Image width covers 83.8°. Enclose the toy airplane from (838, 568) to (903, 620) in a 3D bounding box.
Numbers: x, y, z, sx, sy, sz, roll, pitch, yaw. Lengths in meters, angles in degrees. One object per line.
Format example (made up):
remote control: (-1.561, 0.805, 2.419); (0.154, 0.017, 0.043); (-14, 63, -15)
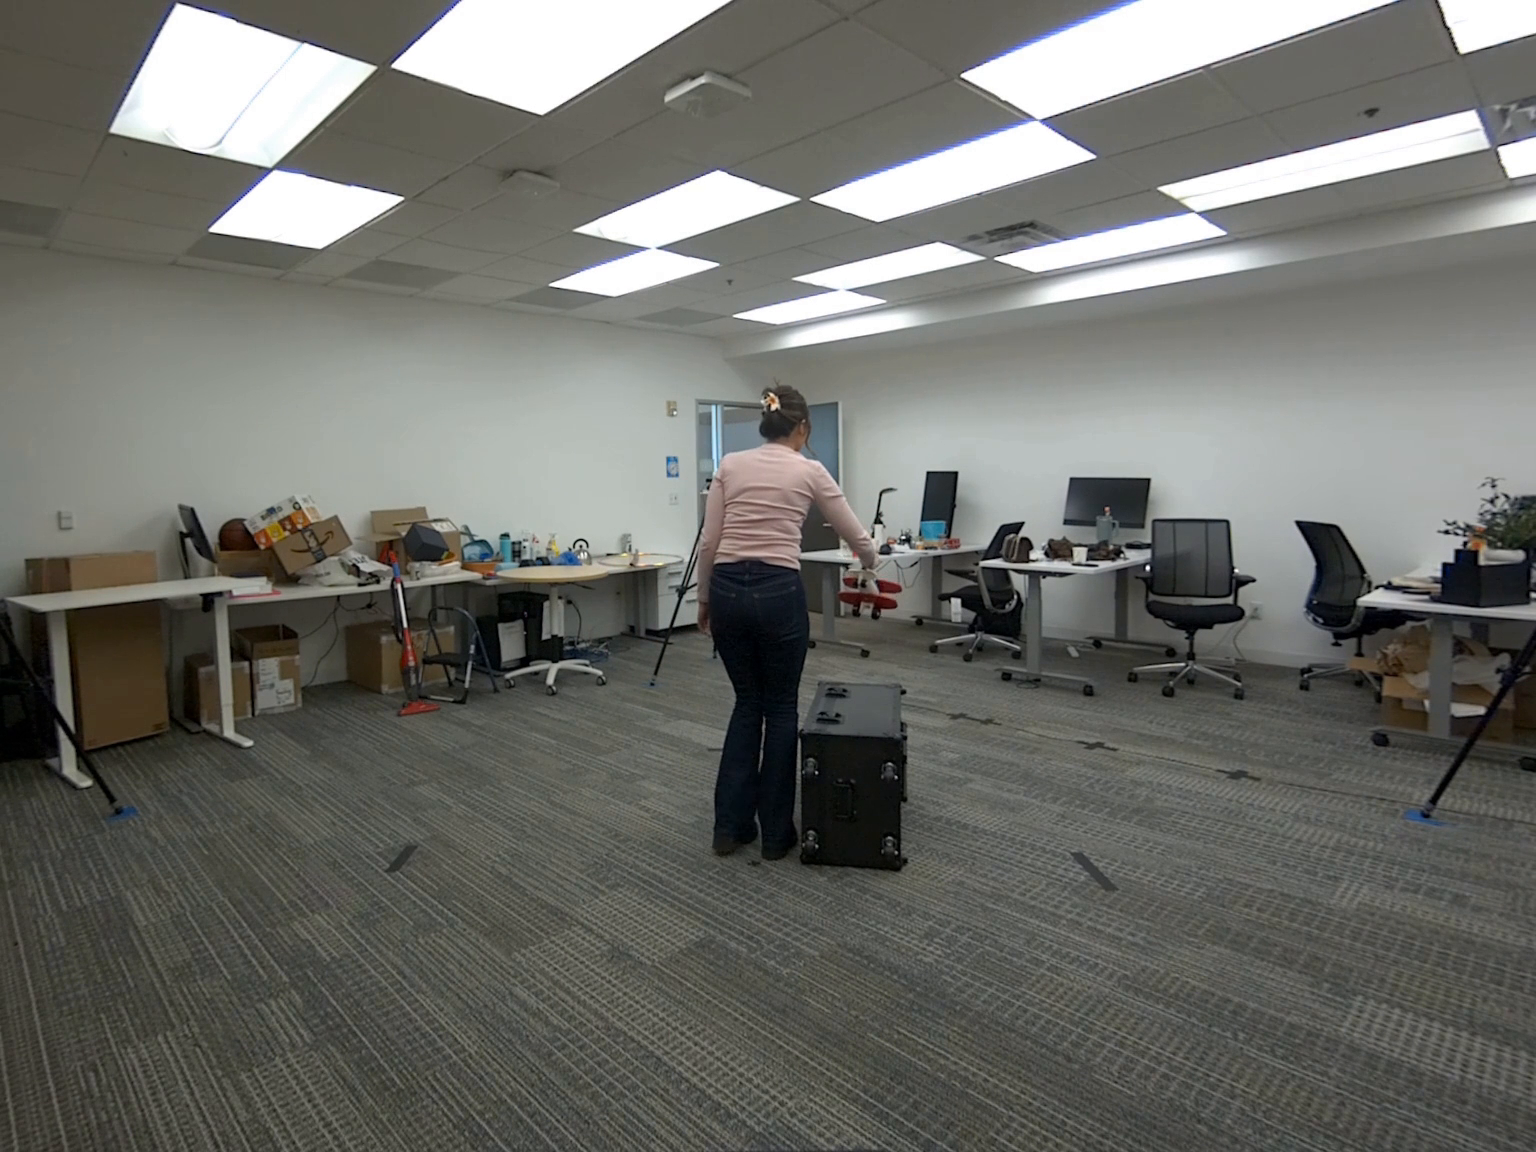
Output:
toy airplane: (0.437, 0.061, 3.565); (0.253, 0.255, 0.158); (26, 49, 5)
